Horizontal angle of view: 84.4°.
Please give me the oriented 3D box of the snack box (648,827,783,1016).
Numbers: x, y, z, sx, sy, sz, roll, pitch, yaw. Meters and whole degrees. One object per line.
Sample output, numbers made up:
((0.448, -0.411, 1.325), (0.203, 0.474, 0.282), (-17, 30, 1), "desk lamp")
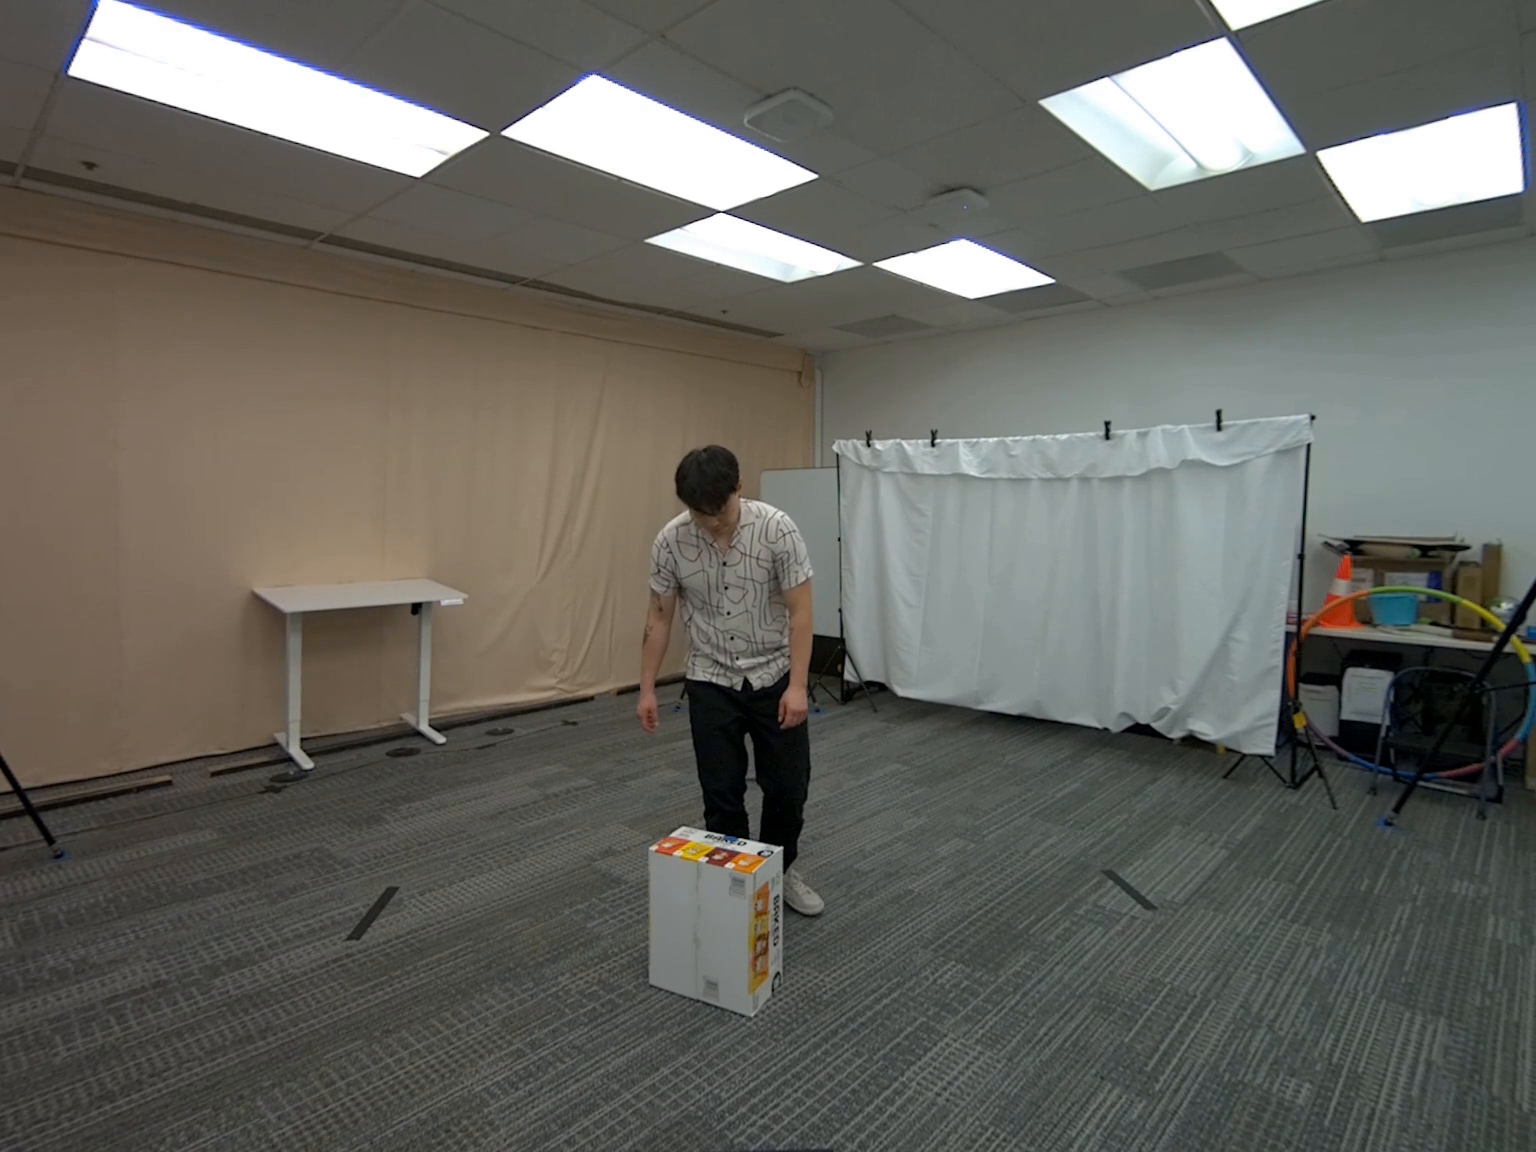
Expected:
((-0.153, 0.987, 2.436), (0.350, 0.404, 0.200), (2, 3, 28), "snack box")
